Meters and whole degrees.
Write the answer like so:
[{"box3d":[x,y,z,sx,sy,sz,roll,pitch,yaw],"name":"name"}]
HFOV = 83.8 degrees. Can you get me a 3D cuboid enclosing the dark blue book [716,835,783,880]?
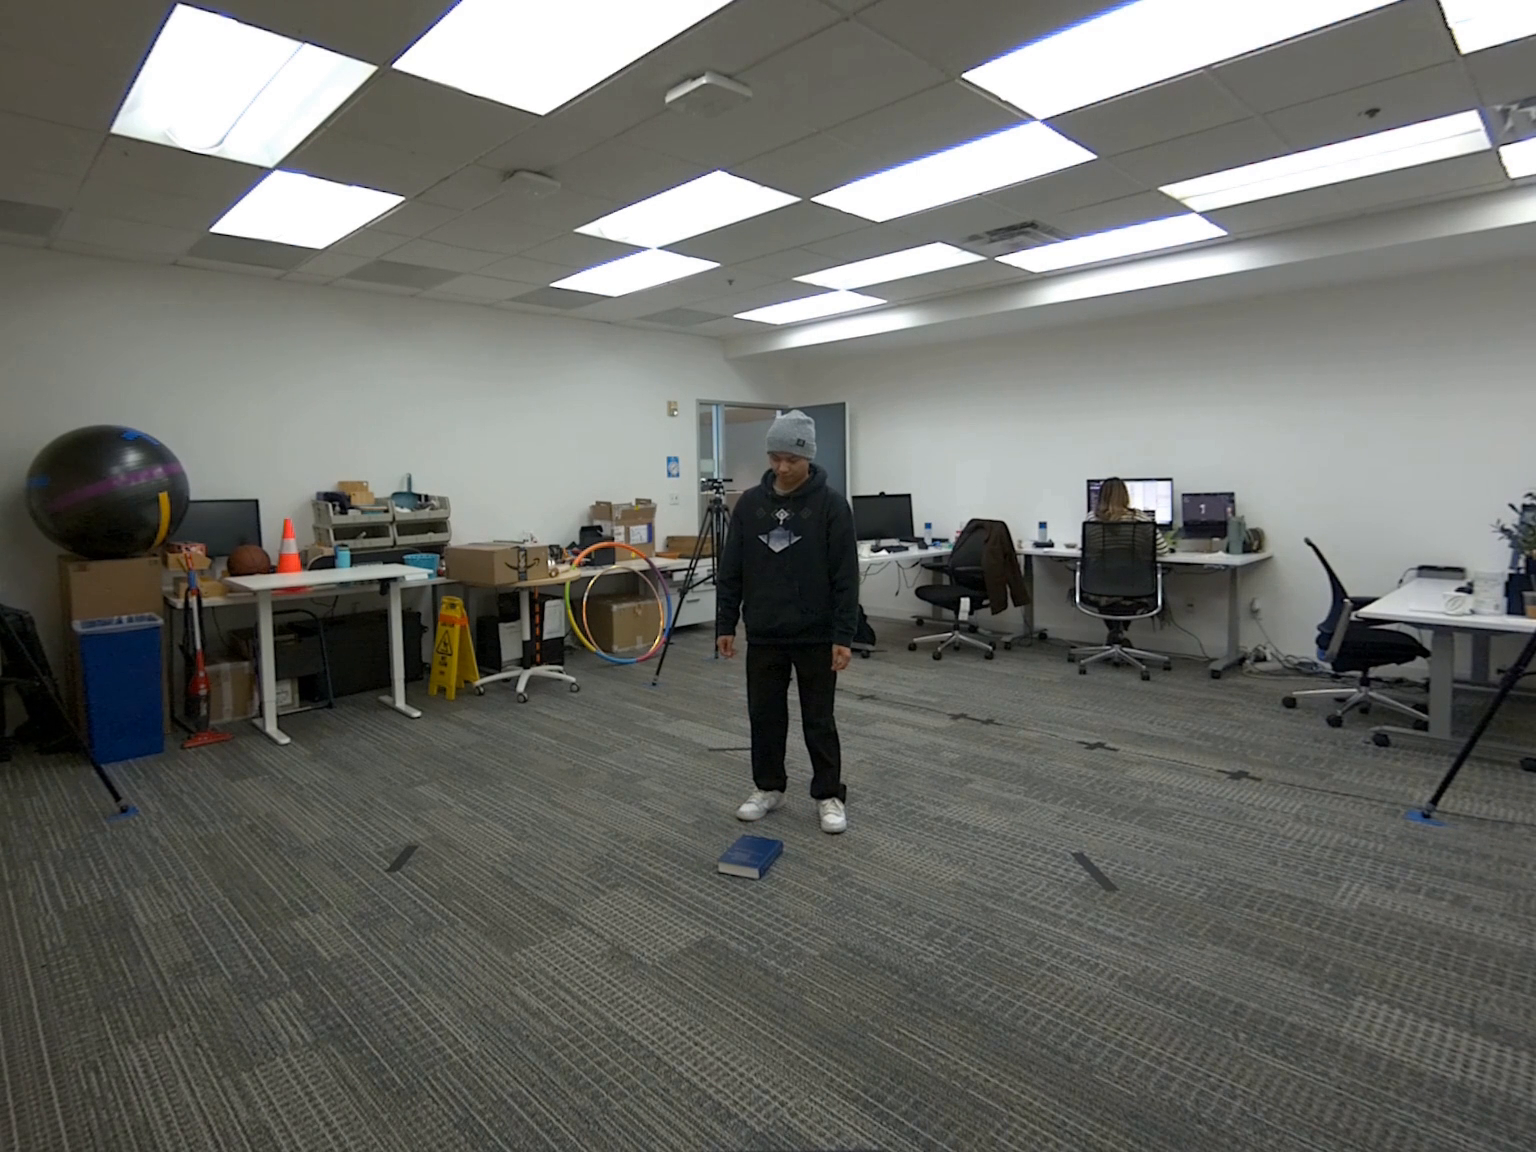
[{"box3d":[-0.062,1.019,3.113,0.167,0.045,0.241,1,7,22],"name":"dark blue book"}]
